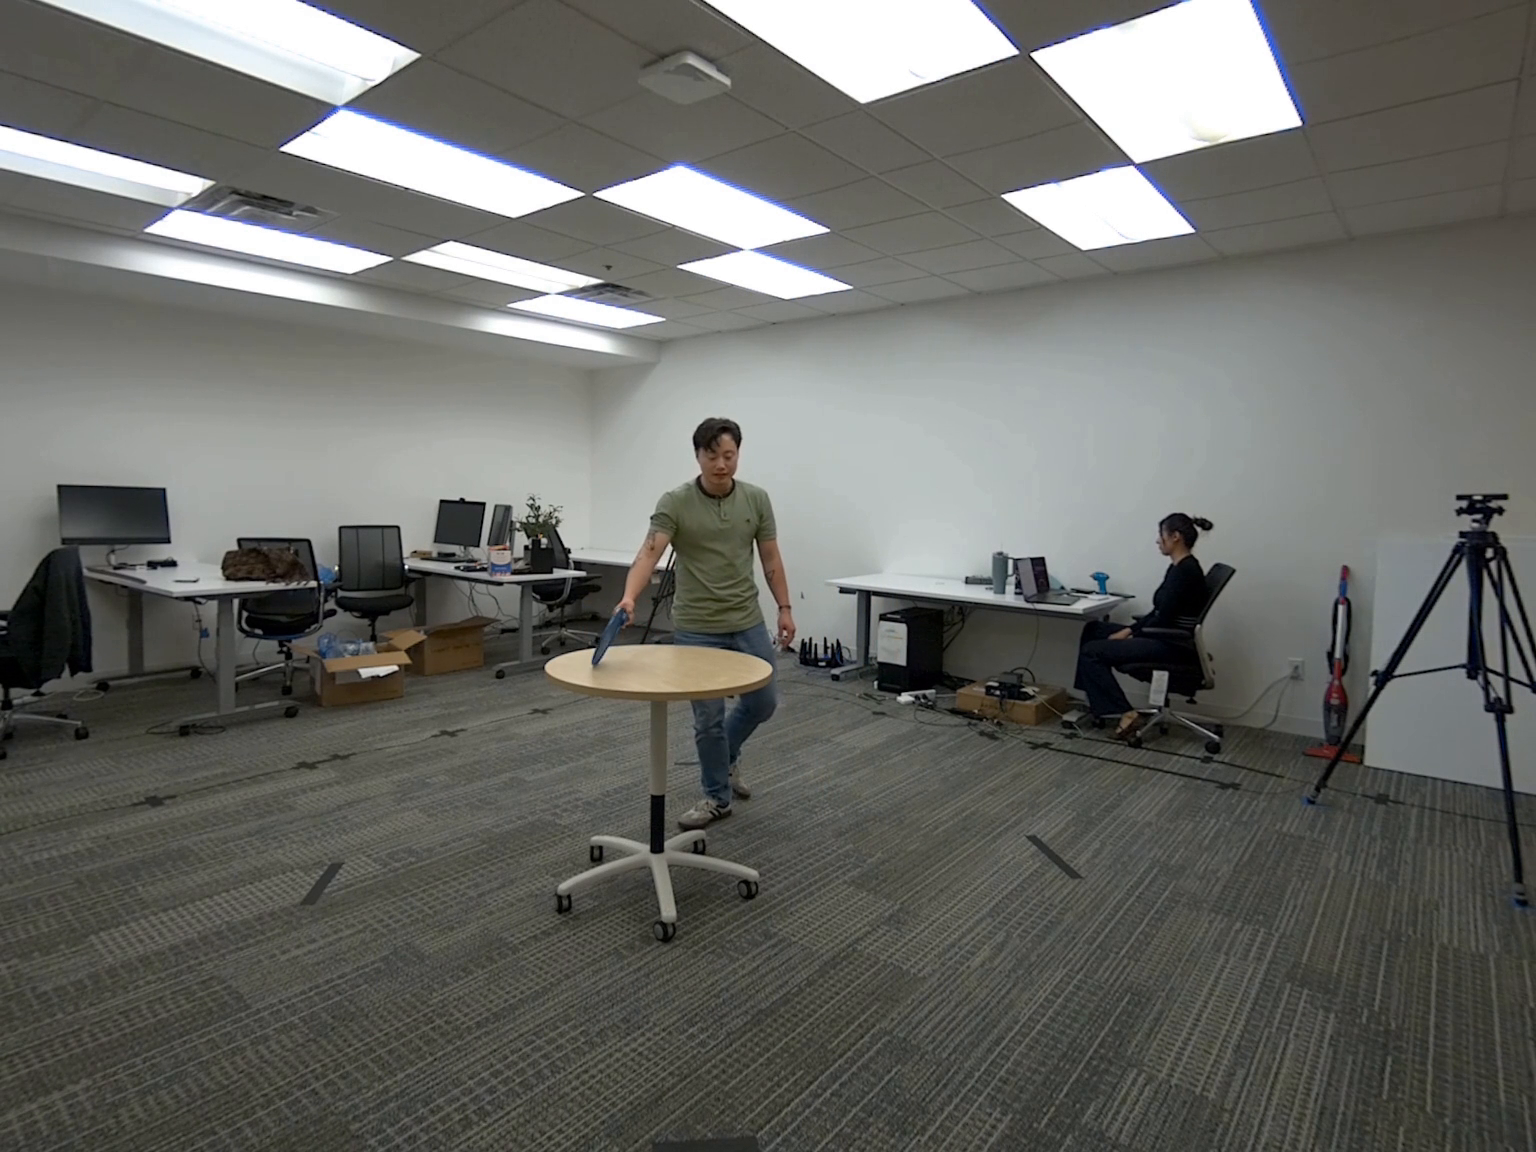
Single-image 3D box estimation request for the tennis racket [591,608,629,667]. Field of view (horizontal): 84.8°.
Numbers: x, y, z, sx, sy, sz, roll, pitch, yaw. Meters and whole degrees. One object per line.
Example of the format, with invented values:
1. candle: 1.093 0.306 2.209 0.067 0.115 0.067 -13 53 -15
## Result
1. tennis racket: -0.542 0.183 2.950 0.032 0.212 0.435 25 15 -1
